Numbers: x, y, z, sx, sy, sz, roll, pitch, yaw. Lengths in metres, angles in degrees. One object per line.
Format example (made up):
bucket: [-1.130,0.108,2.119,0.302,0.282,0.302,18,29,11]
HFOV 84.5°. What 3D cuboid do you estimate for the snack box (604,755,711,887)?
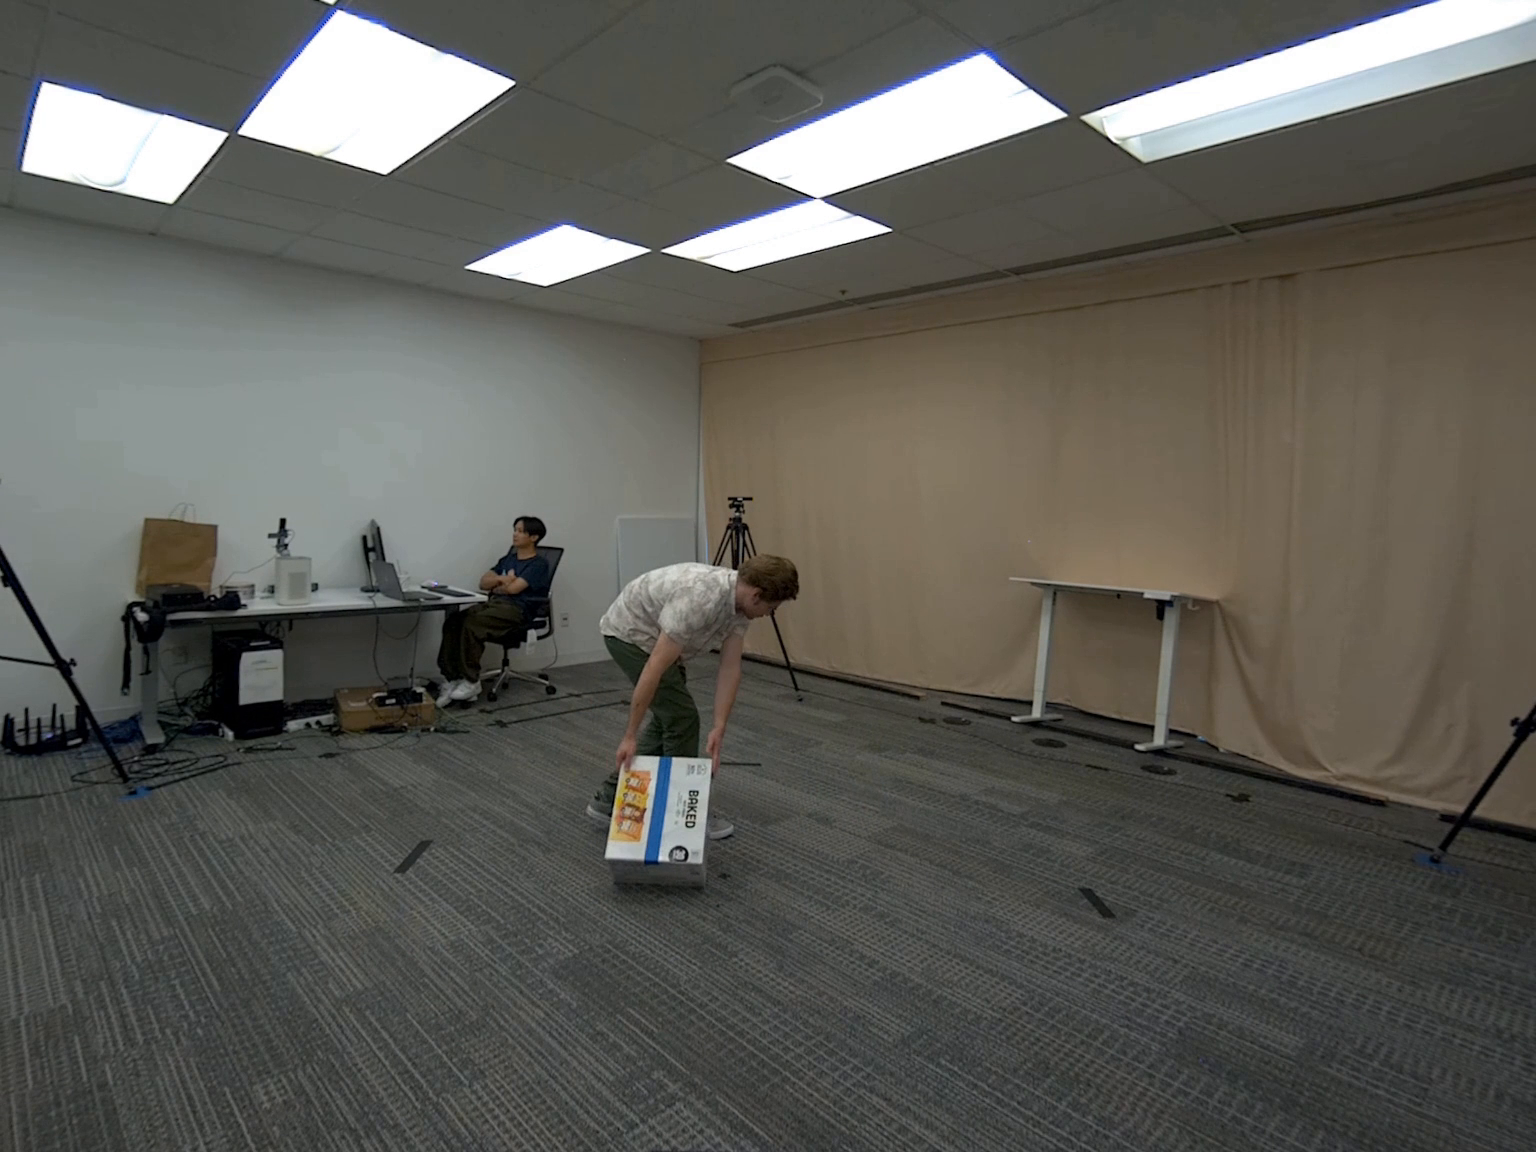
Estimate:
snack box: [-0.391,0.897,3.086,0.342,0.201,0.413,1,47,4]
